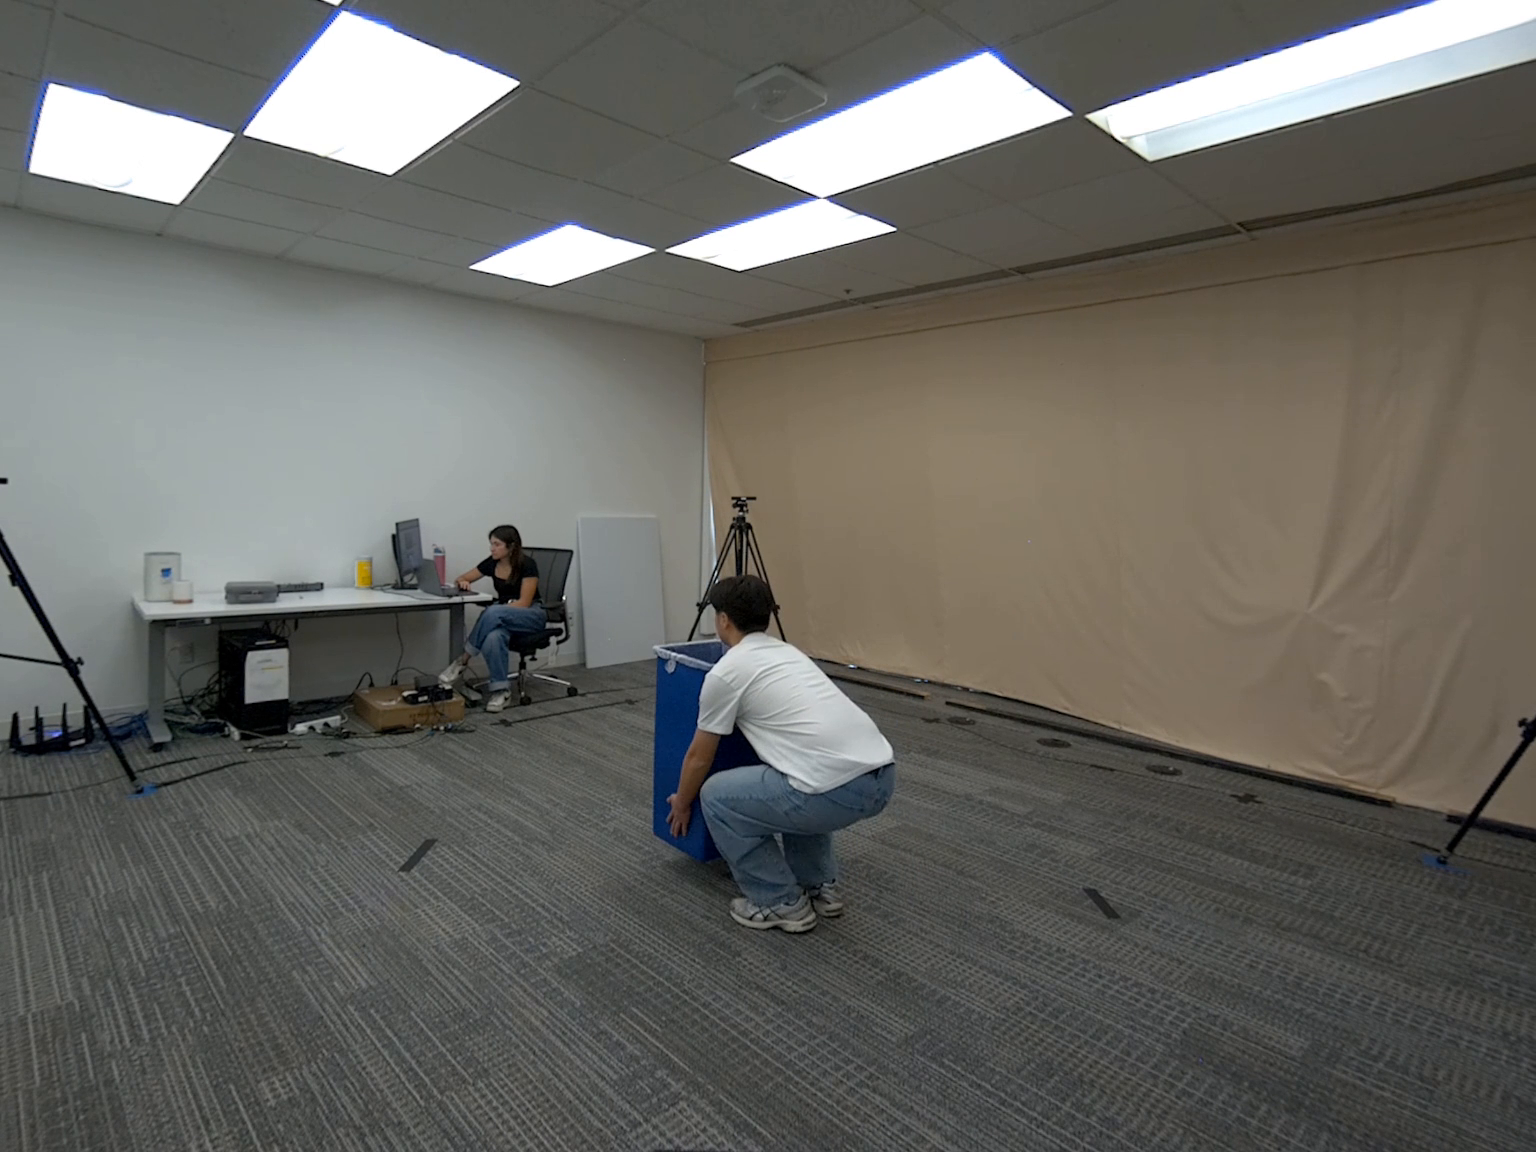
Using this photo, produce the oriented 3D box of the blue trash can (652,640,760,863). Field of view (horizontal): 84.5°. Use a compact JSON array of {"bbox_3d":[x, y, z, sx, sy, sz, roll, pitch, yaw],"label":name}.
[{"bbox_3d":[-0.216,0.630,3.159,0.365,0.711,0.388,-1,7,-44],"label":"blue trash can"}]
